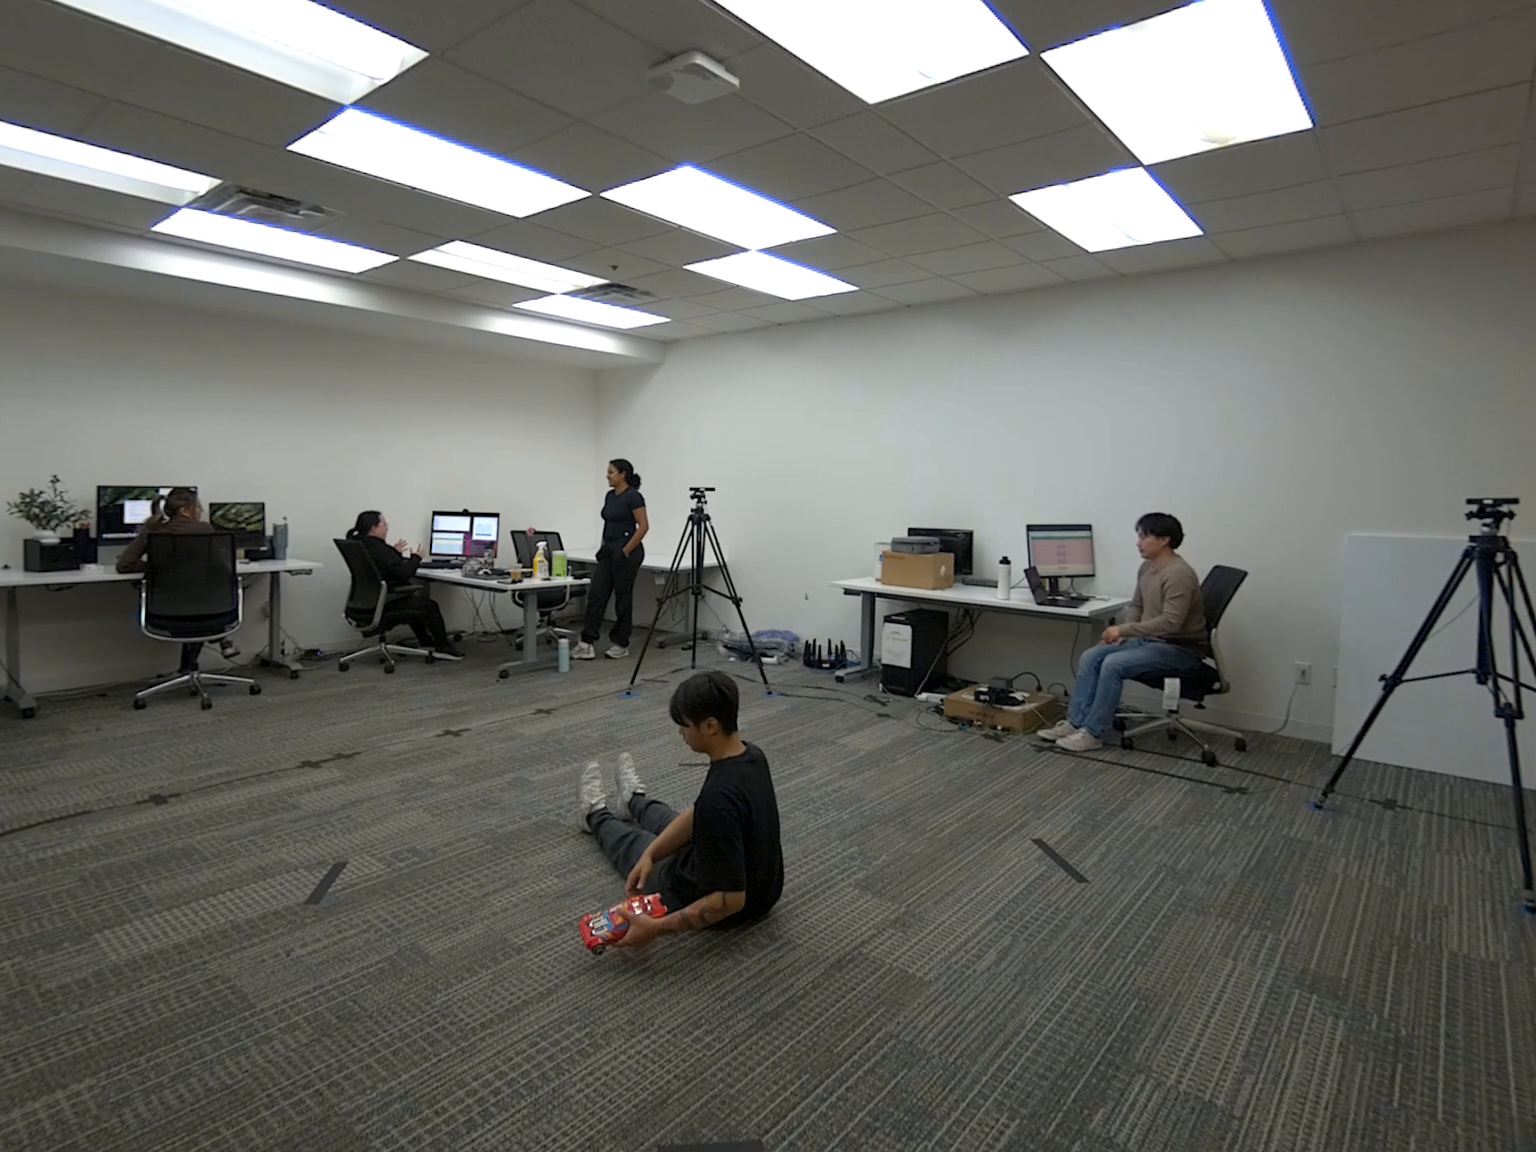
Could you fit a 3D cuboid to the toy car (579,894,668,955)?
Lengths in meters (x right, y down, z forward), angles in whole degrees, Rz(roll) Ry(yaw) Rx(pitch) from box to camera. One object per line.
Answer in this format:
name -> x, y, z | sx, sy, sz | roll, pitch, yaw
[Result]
toy car -> -0.441, 1.015, 2.506 | 0.252, 0.081, 0.135 | -21, 32, -16
